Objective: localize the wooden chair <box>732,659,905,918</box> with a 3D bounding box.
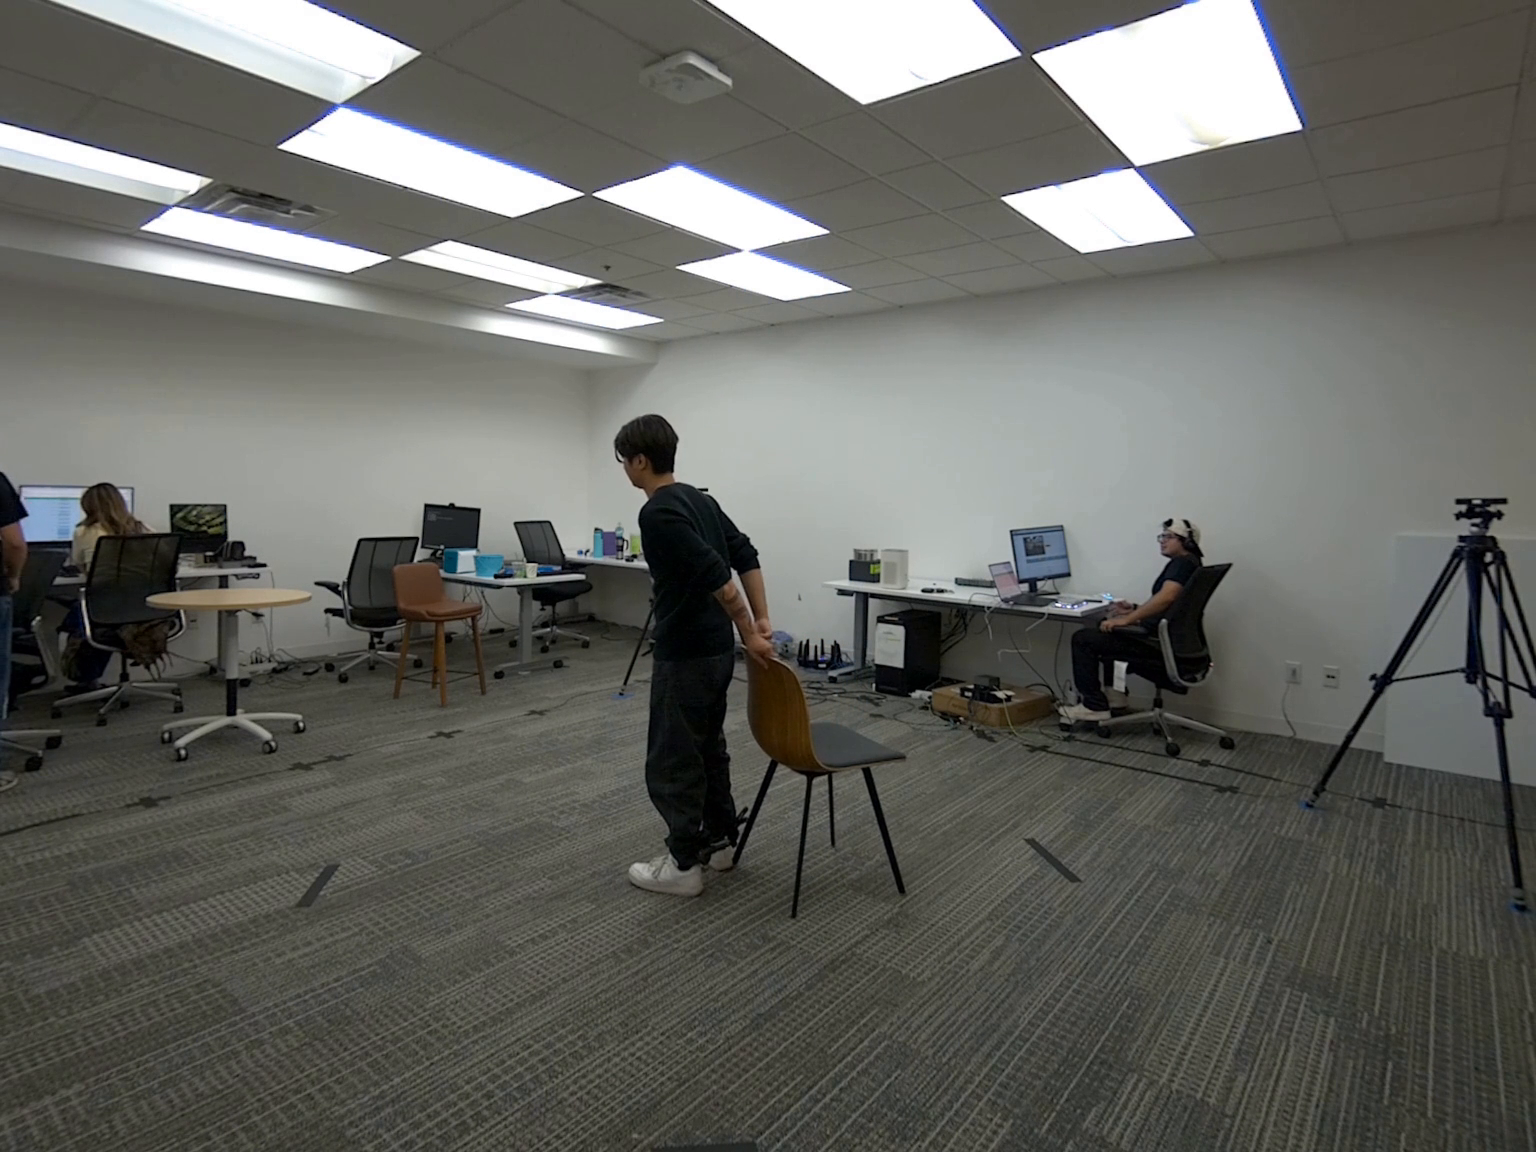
[{"bbox_3d":[0.180,0.663,3.025,0.511,0.873,0.491,-5,5,-27],"label":"wooden chair"}]
